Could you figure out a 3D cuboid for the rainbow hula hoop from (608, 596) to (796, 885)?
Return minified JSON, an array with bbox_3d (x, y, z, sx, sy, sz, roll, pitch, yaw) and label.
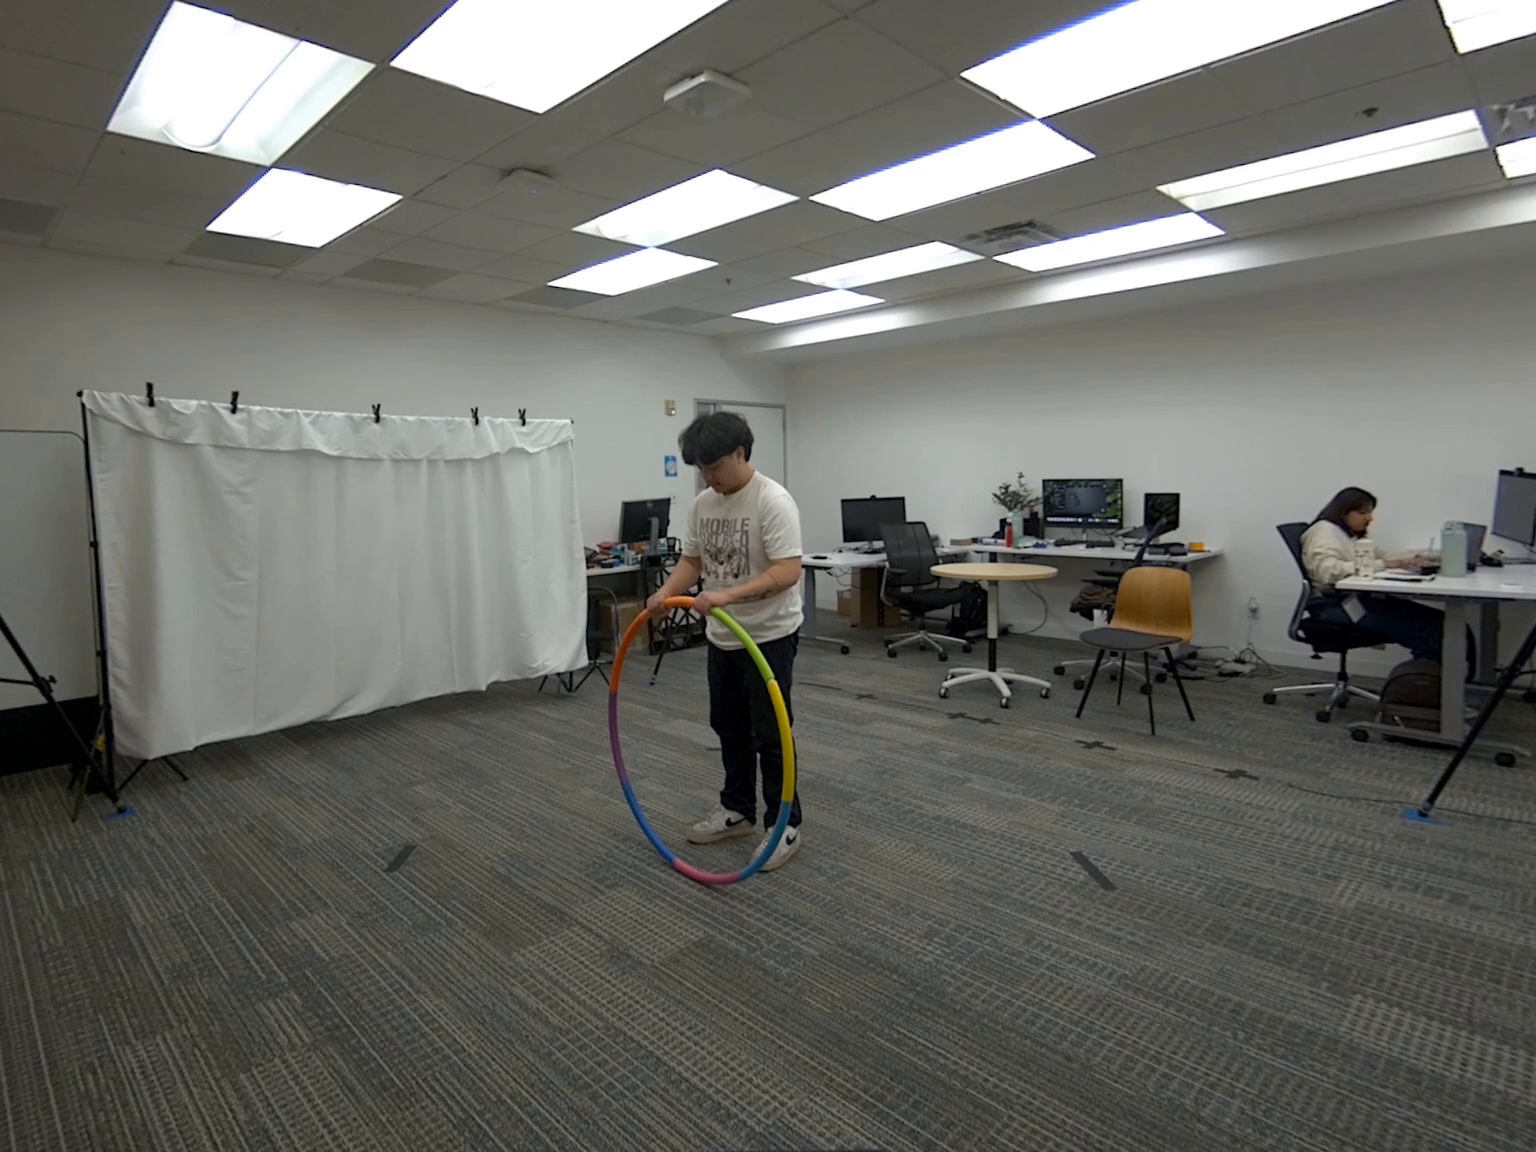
[{"bbox_3d":[-0.269,0.567,2.981,0.050,0.983,1.016,-2,4,-43],"label":"rainbow hula hoop"}]
